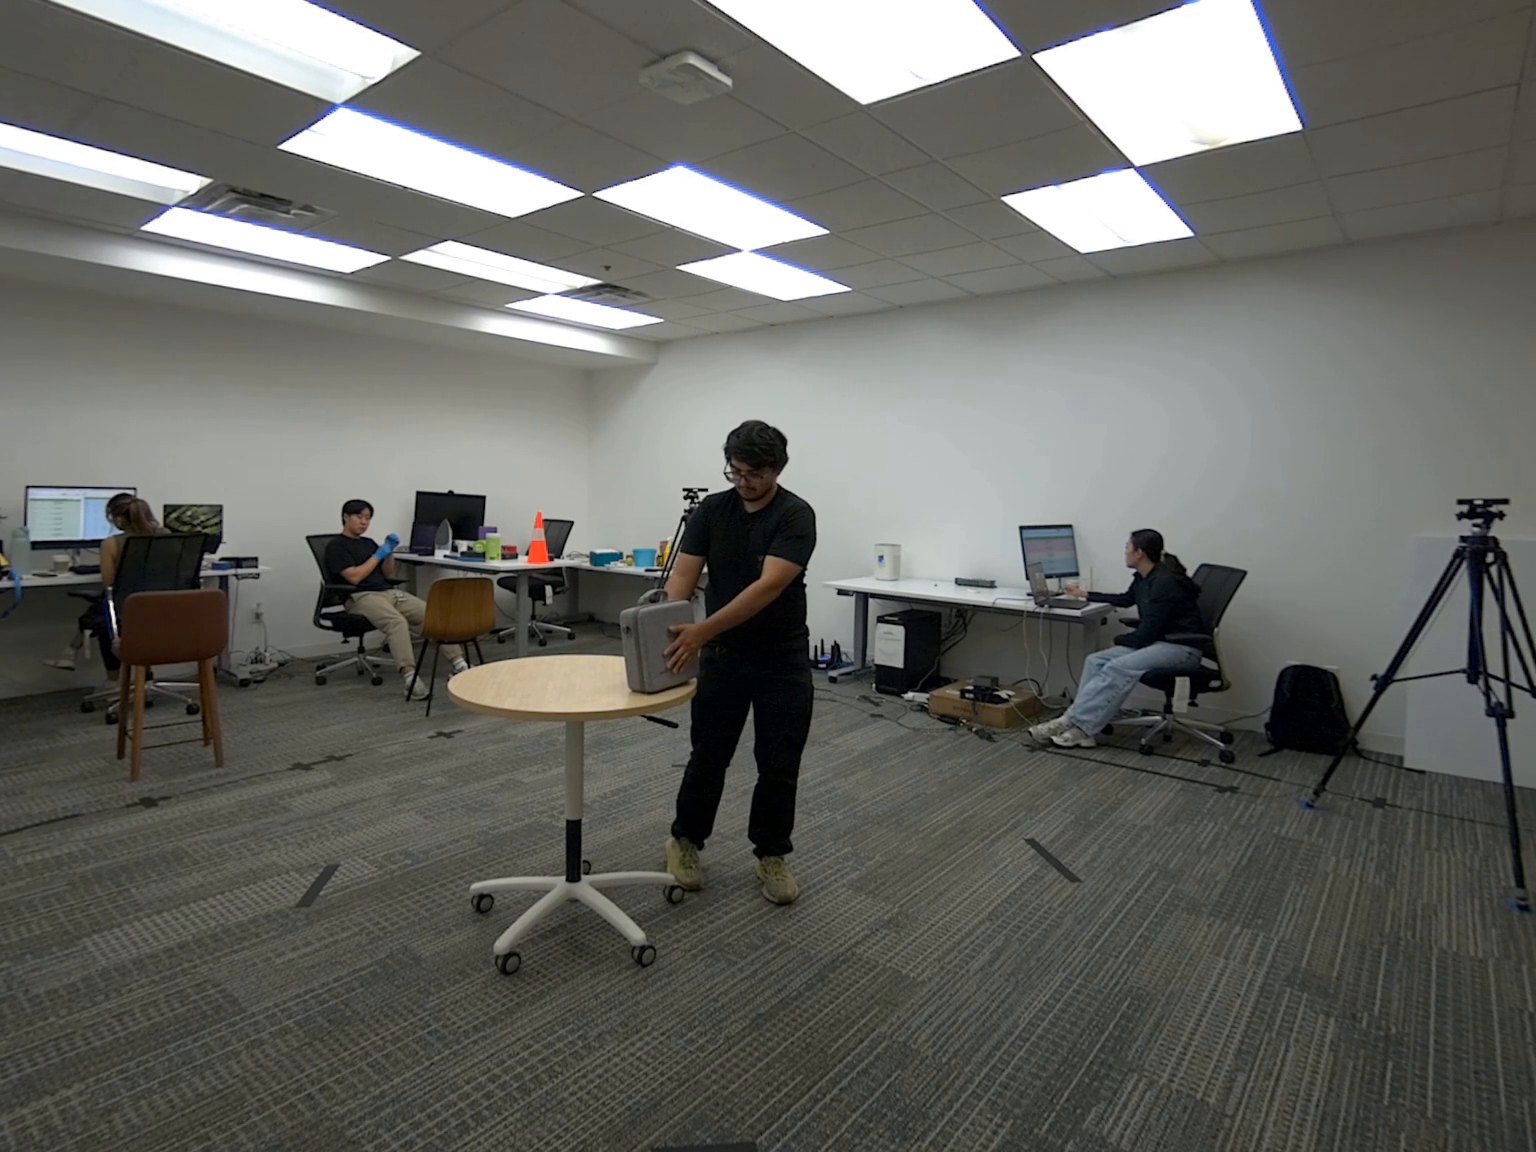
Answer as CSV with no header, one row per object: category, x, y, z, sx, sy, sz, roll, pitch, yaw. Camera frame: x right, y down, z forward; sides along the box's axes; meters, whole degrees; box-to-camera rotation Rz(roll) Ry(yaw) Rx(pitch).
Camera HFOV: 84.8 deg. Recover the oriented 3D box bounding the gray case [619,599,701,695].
gray case,-0.346,0.205,2.604,0.107,0.261,0.250,-7,-1,33
